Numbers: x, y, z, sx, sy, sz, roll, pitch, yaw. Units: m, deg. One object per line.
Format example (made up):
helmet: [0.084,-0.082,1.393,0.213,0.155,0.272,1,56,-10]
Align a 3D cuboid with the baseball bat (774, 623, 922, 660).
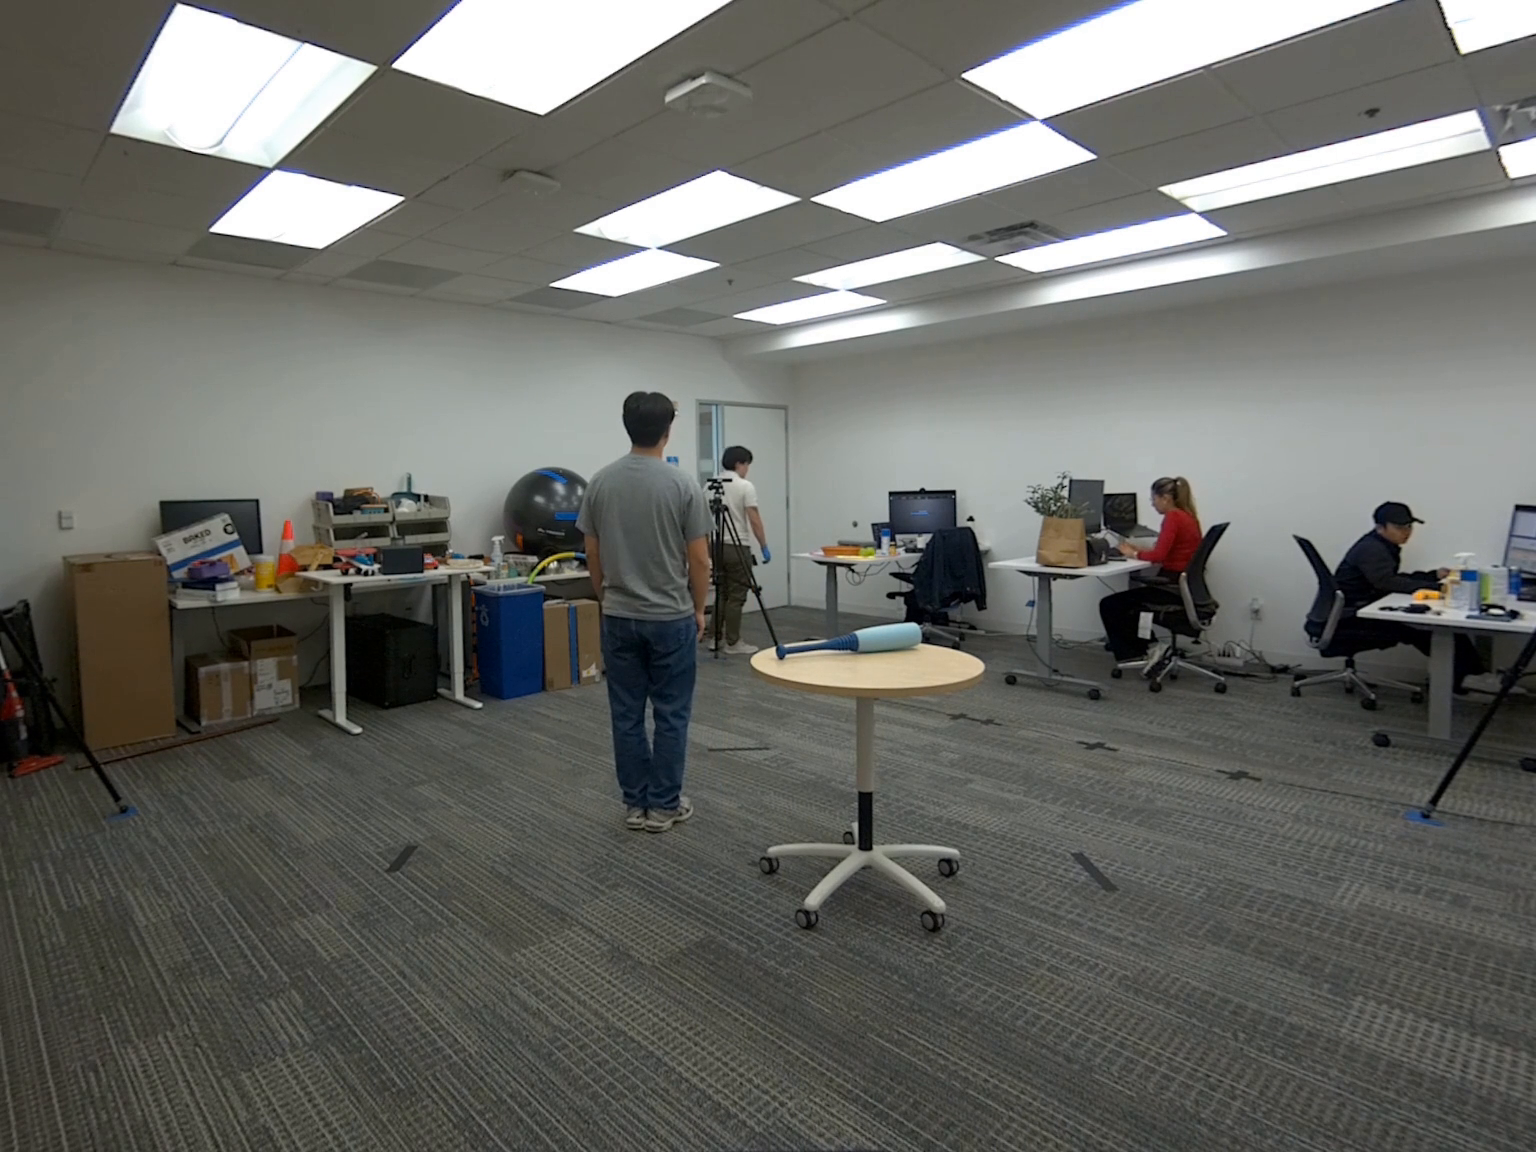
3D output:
baseball bat: [0.285,0.234,2.970,0.535,0.088,0.091,-6,6,-18]
